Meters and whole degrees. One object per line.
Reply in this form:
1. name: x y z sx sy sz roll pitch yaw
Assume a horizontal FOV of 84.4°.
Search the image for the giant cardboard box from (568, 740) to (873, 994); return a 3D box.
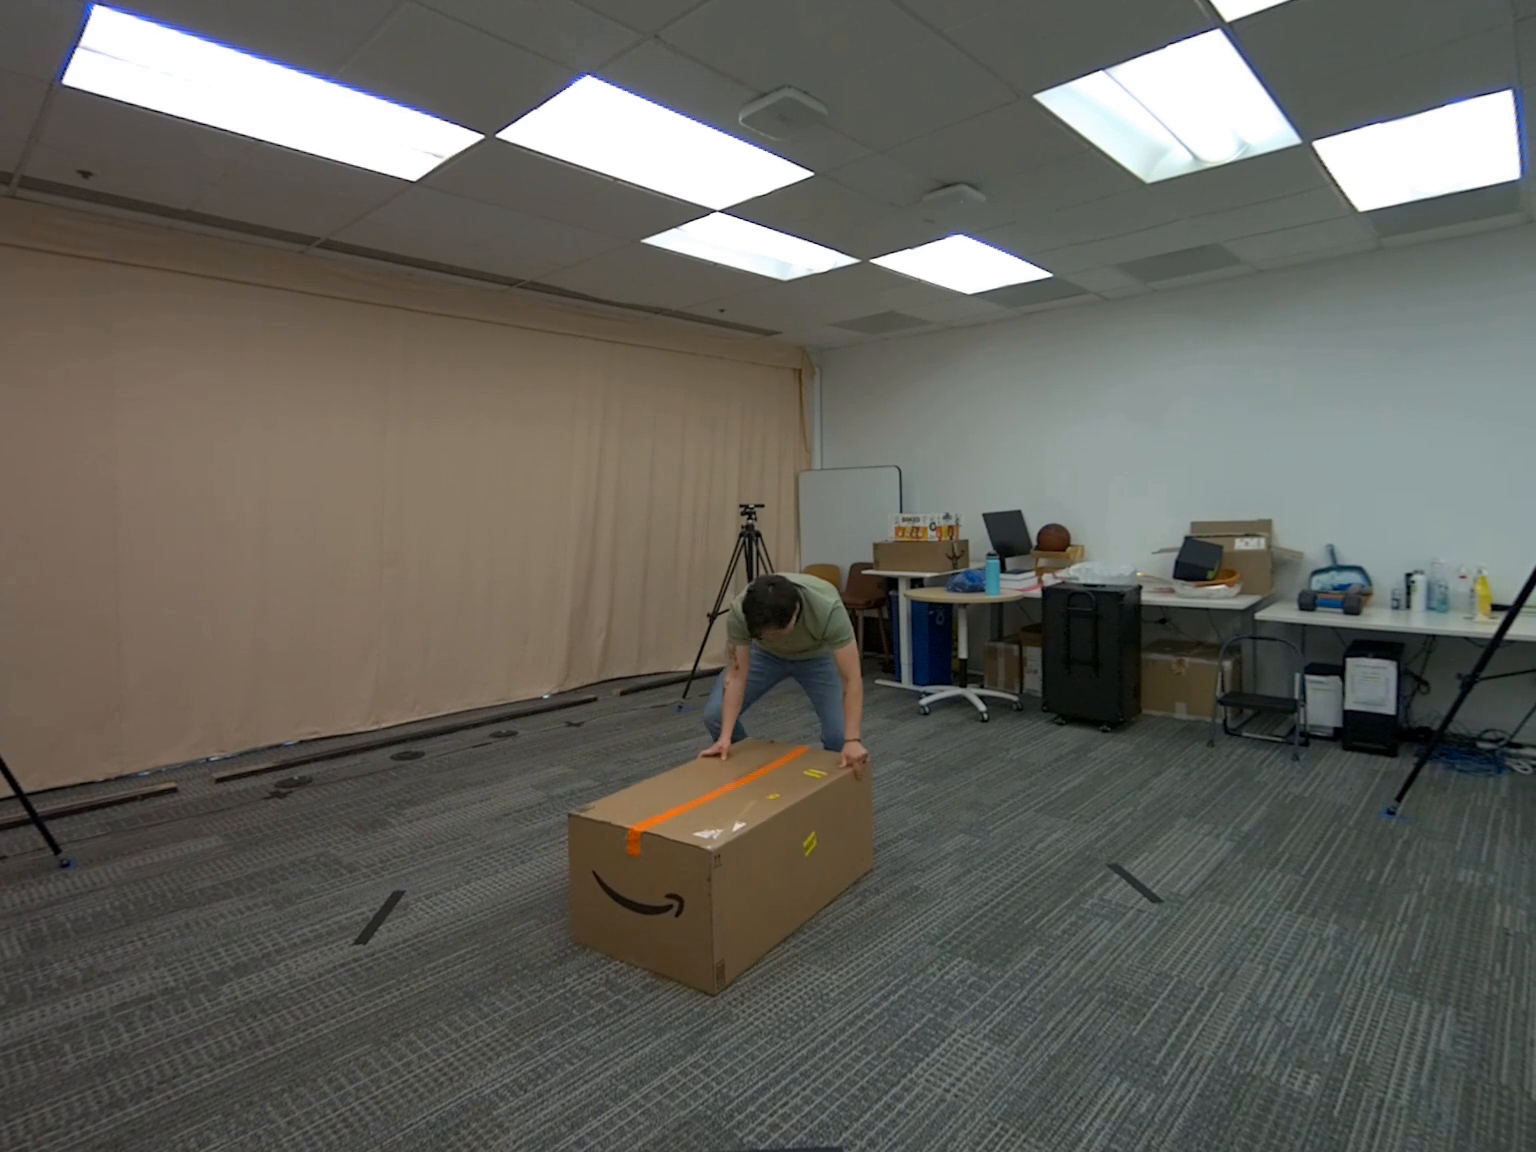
1. giant cardboard box: -0.119 0.932 2.946 0.595 0.425 0.997 2 5 34
